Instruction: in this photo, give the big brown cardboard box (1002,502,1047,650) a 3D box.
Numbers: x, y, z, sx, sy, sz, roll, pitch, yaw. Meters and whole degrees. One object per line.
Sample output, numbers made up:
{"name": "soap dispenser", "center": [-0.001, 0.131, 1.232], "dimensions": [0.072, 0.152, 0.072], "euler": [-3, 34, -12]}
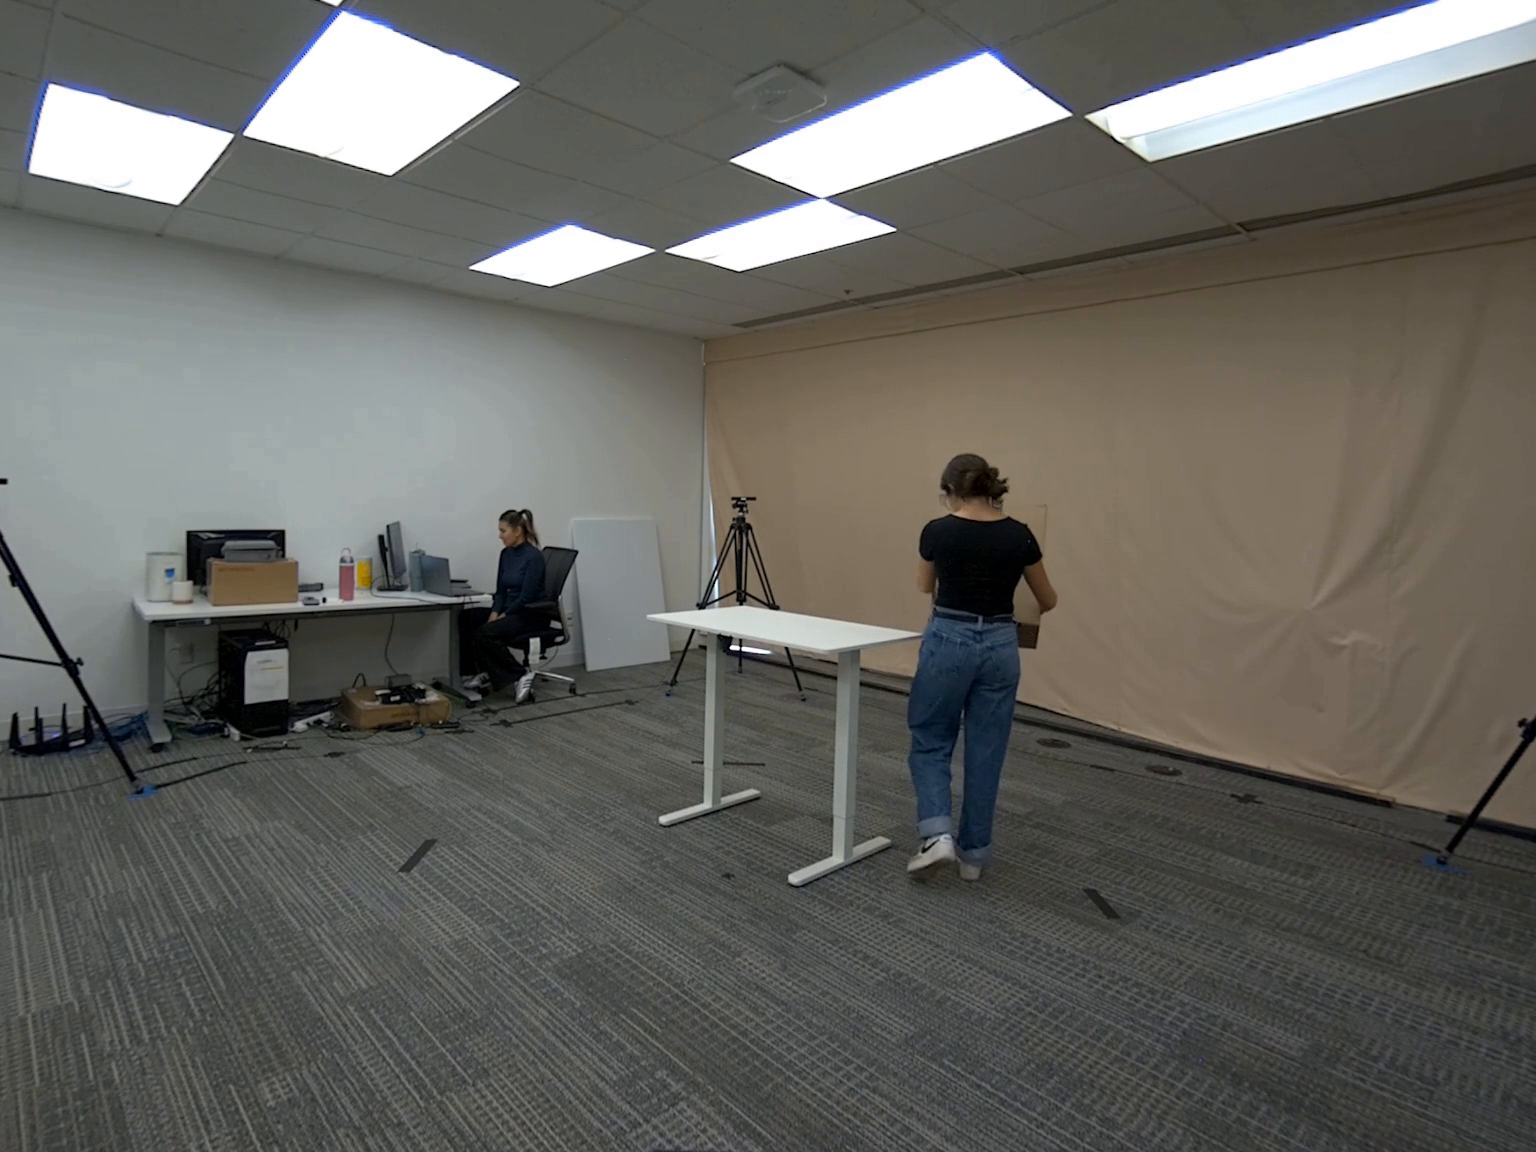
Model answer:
{"name": "big brown cardboard box", "center": [0.916, -0.018, 3.489], "dimensions": [0.424, 0.597, 0.227], "euler": [4, -31, 17]}
